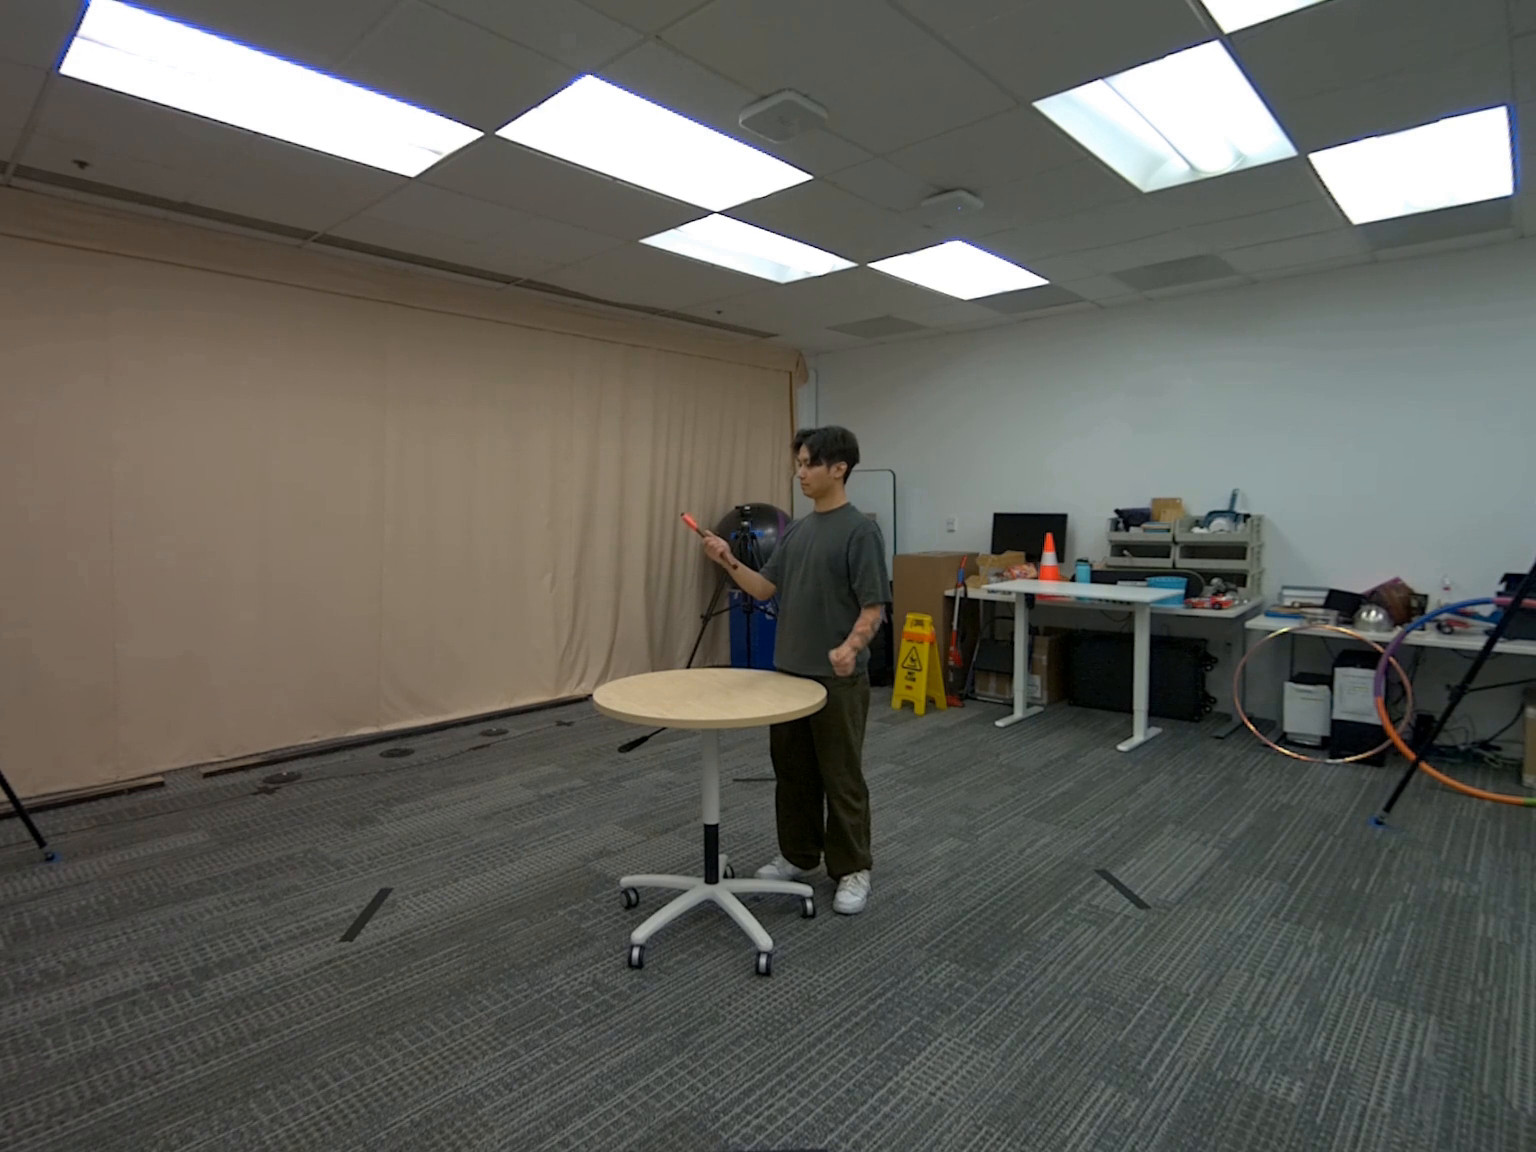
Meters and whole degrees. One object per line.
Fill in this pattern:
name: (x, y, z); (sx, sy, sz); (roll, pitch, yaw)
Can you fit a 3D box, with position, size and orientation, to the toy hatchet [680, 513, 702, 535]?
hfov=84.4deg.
toy hatchet: (-0.207, -0.130, 2.897); (0.278, 0.029, 0.127); (43, -2, 24)
